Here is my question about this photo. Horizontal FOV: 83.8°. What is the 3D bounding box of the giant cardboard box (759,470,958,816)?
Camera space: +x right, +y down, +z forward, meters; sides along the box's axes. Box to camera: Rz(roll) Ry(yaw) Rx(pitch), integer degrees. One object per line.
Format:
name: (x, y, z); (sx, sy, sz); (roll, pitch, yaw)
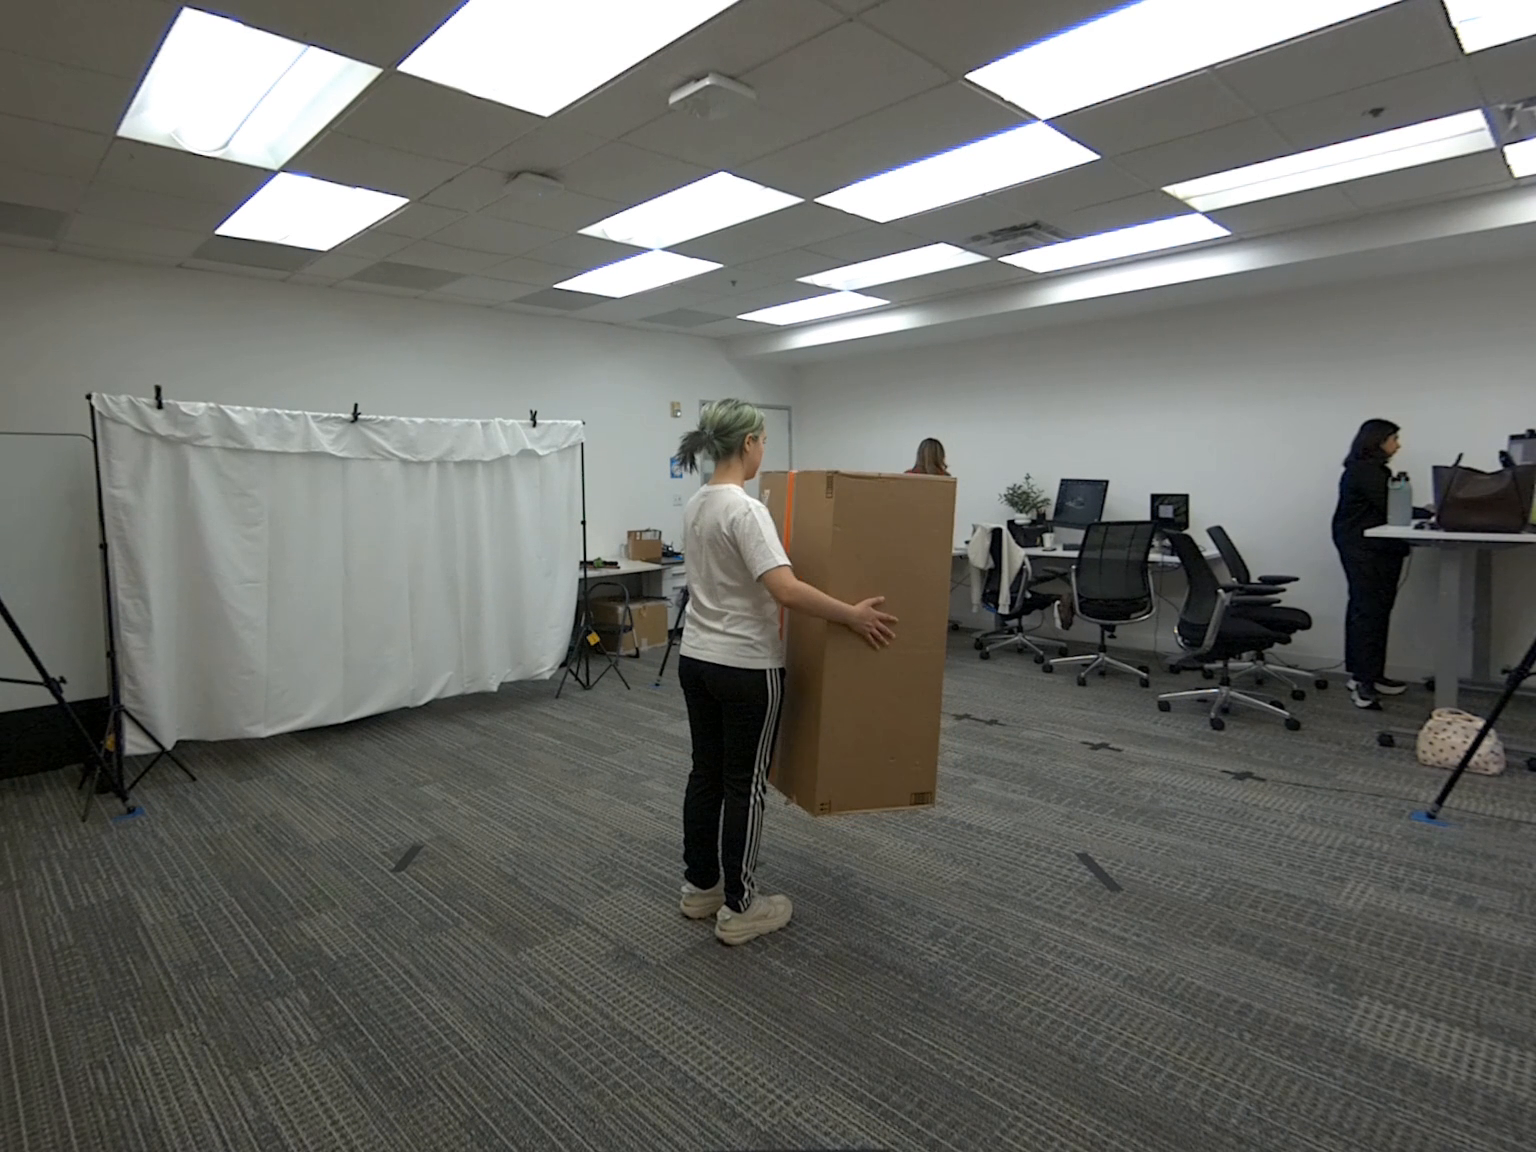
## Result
giant cardboard box: (0.242, 0.176, 2.816); (0.418, 1.023, 0.590); (2, 3, -22)
